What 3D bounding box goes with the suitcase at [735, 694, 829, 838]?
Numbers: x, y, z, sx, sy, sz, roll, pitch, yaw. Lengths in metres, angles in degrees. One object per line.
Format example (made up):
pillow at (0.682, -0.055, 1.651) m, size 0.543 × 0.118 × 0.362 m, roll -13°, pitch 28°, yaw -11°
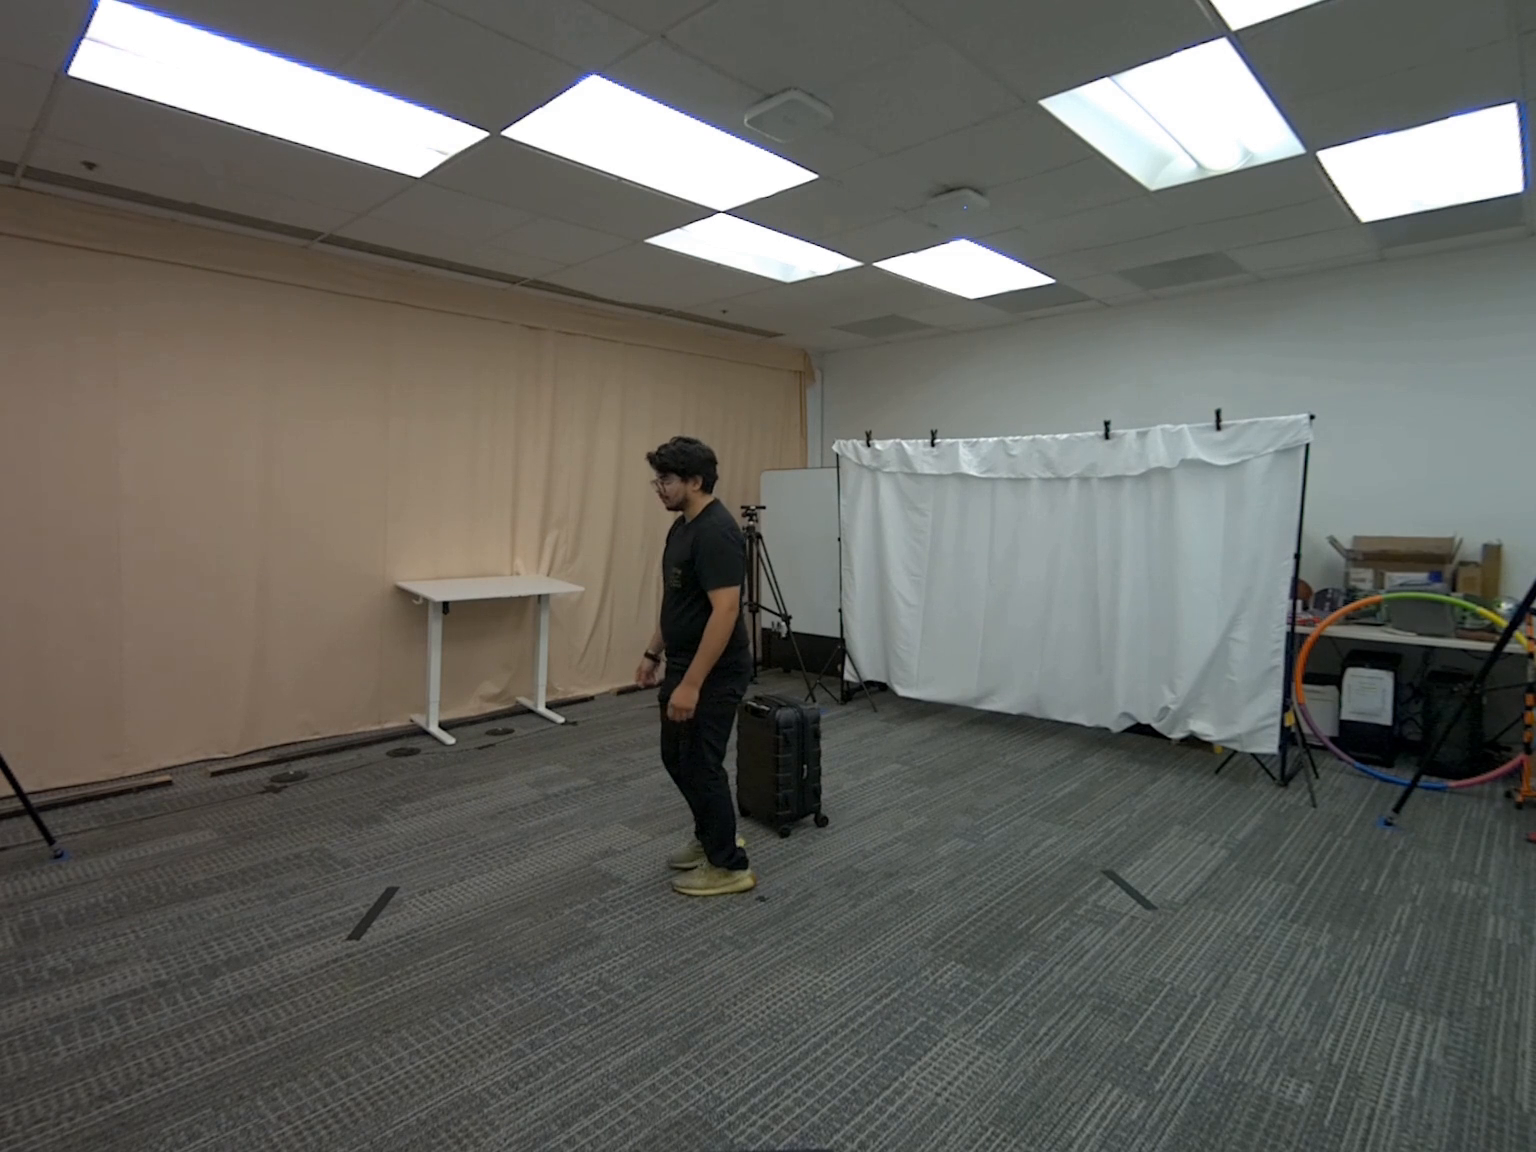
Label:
suitcase at (0.052, 0.810, 3.710) m, size 0.241 × 0.548 × 0.387 m, roll -3°, pitch 4°, yaw -35°
